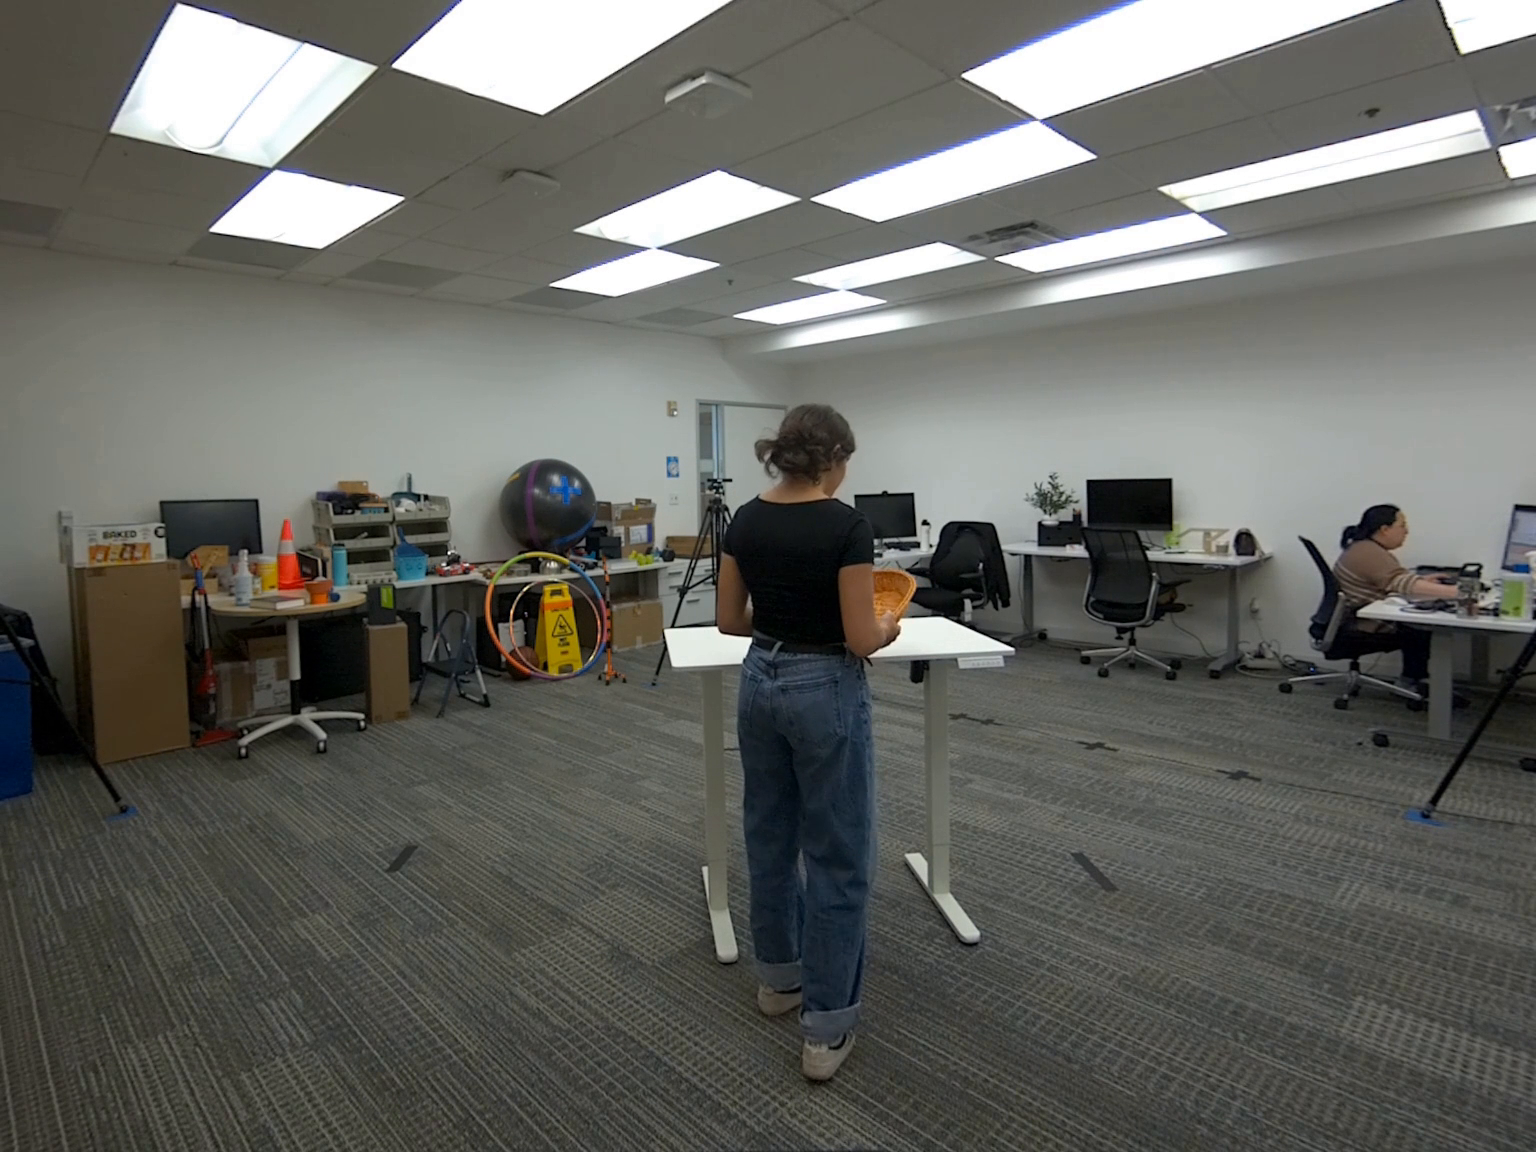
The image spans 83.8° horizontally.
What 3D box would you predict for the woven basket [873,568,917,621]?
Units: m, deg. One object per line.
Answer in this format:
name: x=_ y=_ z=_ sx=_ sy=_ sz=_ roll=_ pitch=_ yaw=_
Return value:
woven basket: x=0.280 y=0.100 z=2.358 sx=0.347 sy=0.071 sz=0.261 roll=-33 pitch=30 yaw=-29
